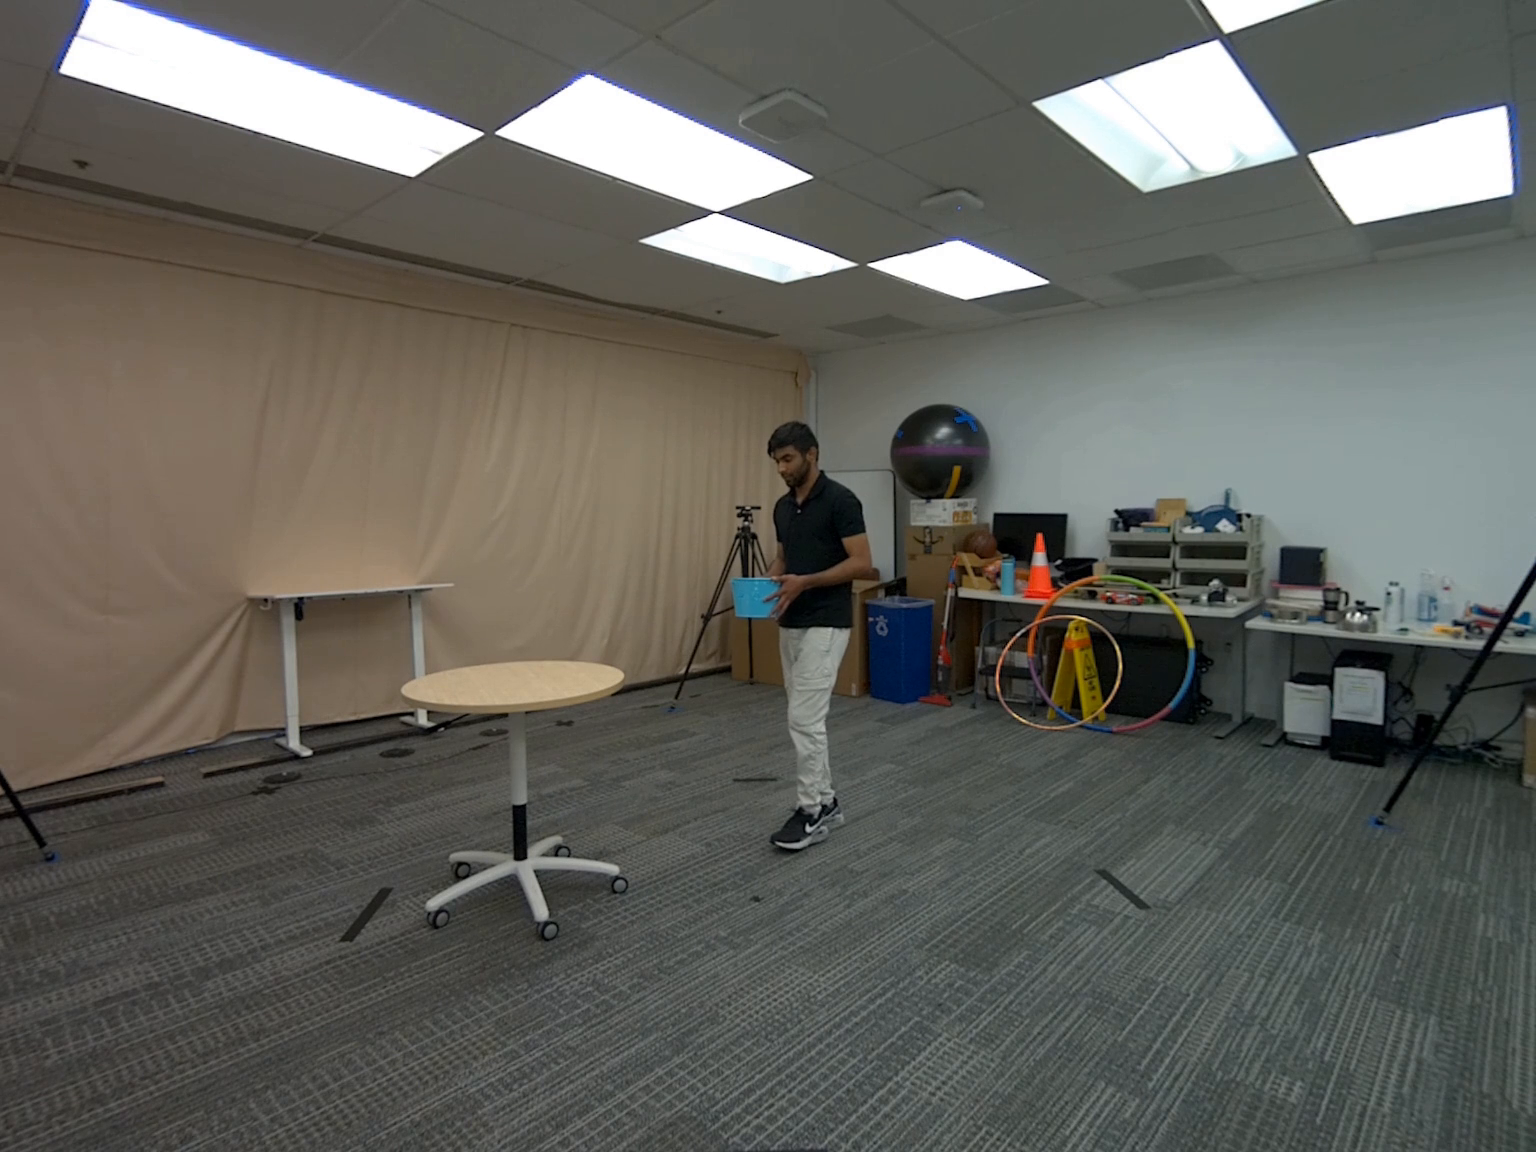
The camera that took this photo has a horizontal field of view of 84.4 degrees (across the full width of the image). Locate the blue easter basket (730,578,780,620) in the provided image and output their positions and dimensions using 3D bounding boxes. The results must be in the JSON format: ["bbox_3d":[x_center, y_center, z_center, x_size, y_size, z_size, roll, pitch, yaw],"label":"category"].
[{"bbox_3d":[-0.034,0.090,3.422,0.243,0.156,0.243,1,-1,-2],"label":"blue easter basket"}]
